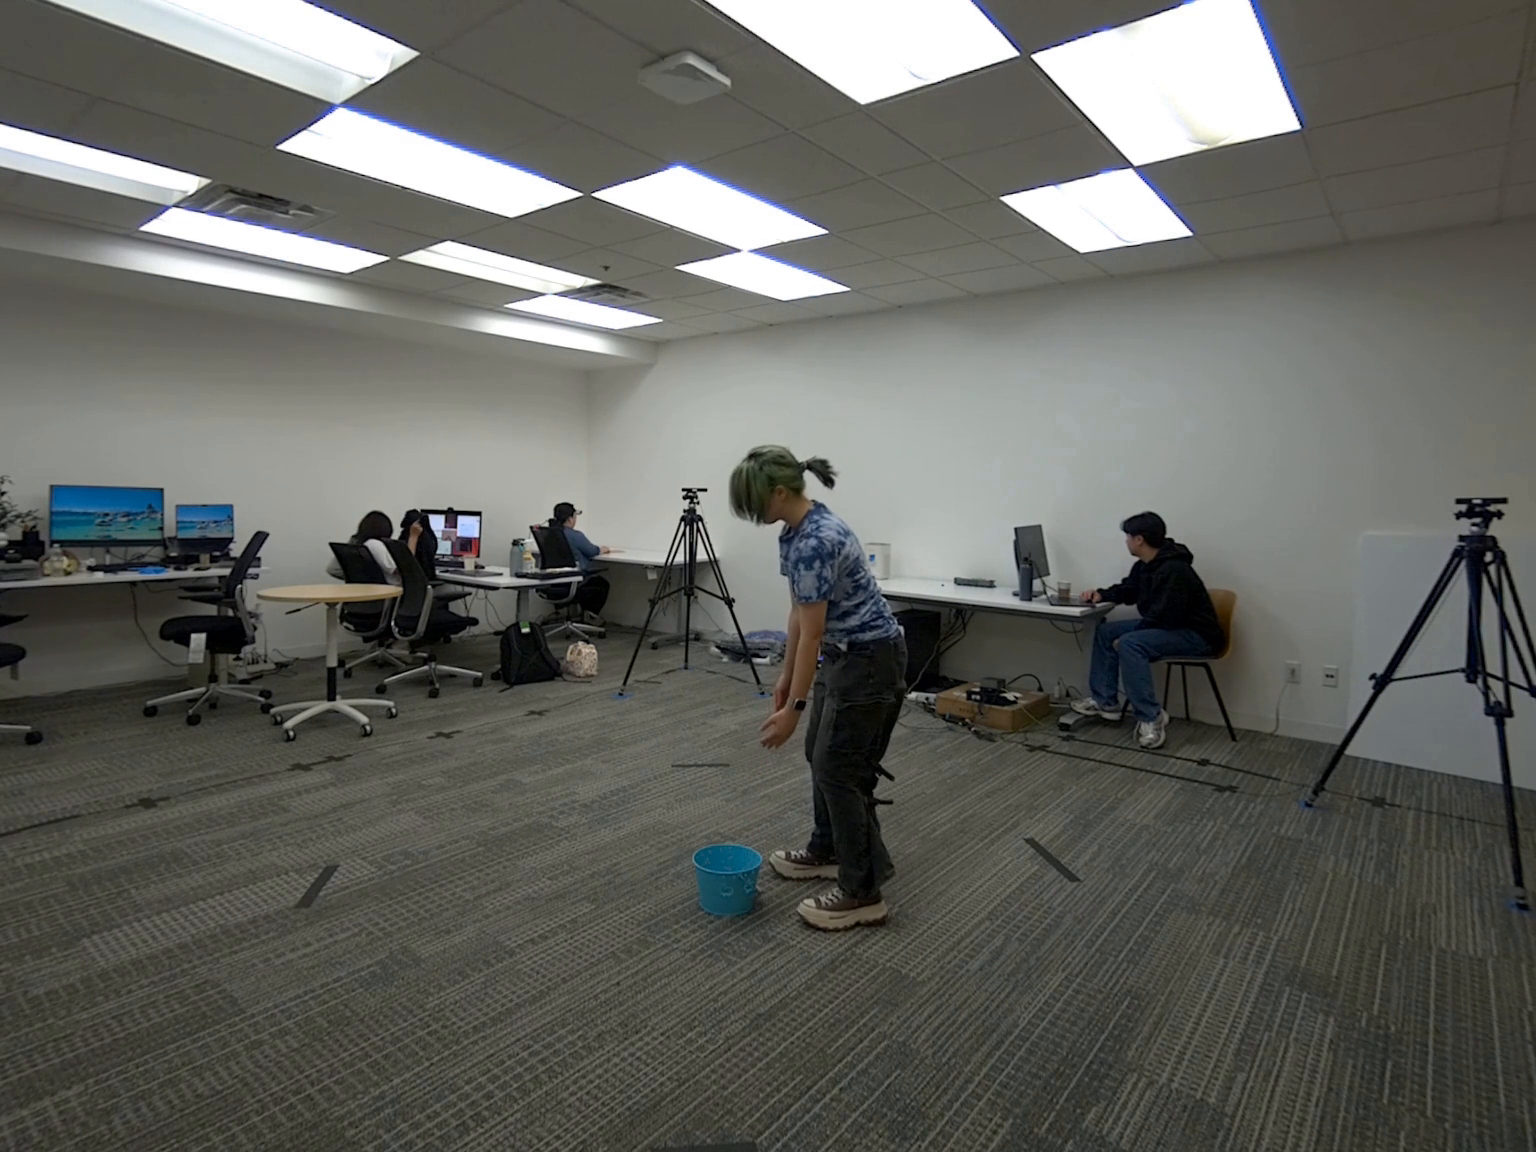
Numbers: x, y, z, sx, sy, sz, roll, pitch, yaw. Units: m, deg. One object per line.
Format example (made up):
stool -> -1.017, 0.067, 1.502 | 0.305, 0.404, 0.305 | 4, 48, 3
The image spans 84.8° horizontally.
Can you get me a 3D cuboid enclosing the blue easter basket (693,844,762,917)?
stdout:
blue easter basket -> -0.145, 1.017, 2.850 | 0.243, 0.155, 0.245 | 1, 4, -2
